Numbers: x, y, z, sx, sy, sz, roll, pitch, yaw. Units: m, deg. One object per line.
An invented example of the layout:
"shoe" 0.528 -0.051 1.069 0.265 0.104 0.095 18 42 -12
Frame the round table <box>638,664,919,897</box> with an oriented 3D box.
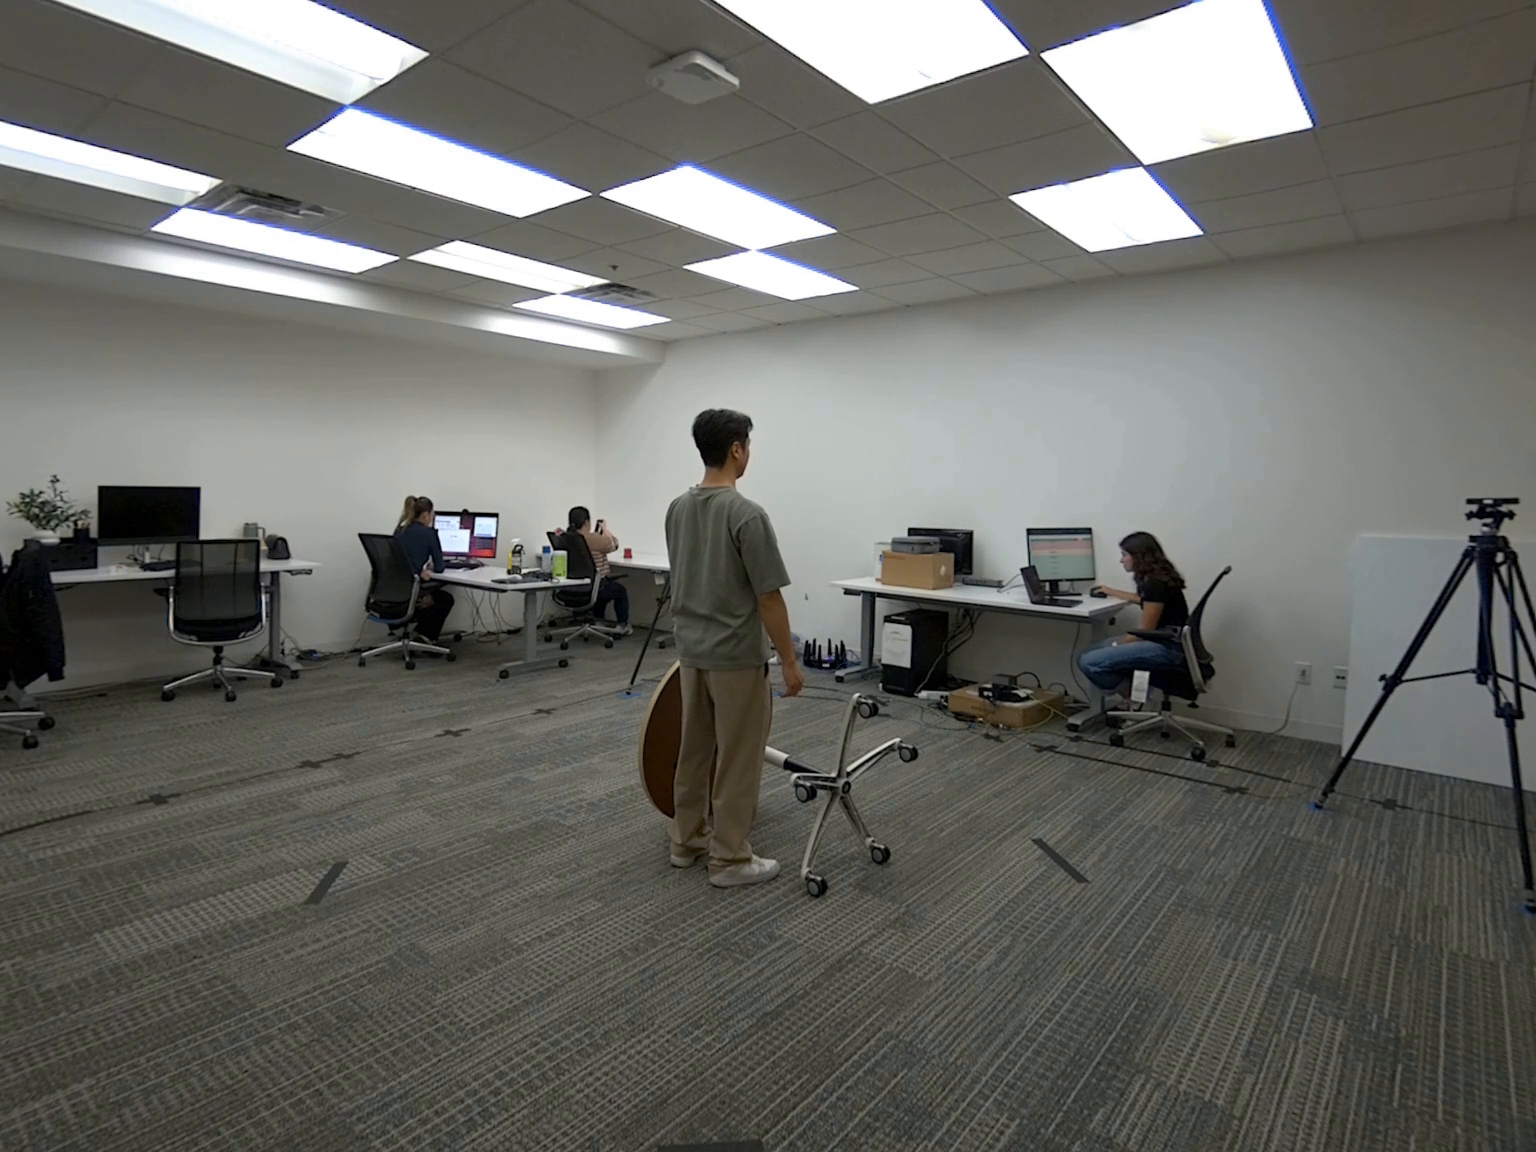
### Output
"round table" 0.045 0.710 3.291 0.816 0.780 0.761 13 11 41
